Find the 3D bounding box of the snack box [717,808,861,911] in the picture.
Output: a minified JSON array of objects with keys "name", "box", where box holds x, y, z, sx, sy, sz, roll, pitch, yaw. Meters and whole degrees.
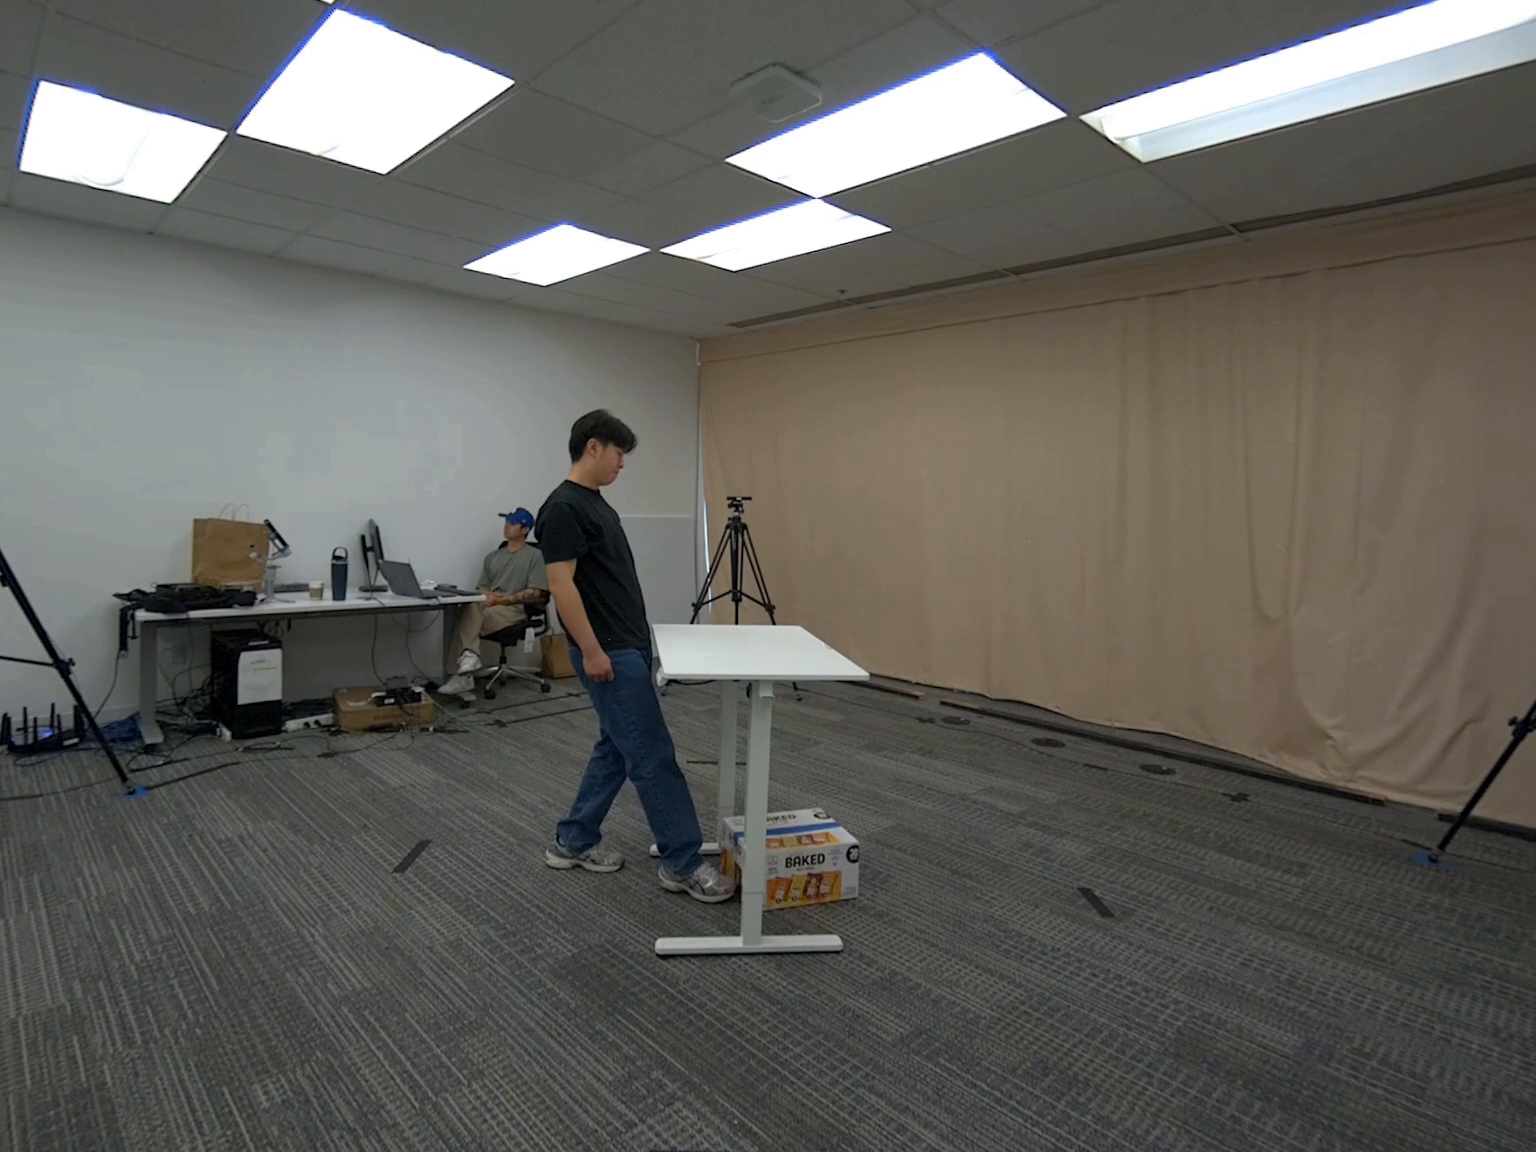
[{"name":"snack box","box":[0.065,1.017,3.033,0.399,0.205,0.346,0,5,-19]}]
